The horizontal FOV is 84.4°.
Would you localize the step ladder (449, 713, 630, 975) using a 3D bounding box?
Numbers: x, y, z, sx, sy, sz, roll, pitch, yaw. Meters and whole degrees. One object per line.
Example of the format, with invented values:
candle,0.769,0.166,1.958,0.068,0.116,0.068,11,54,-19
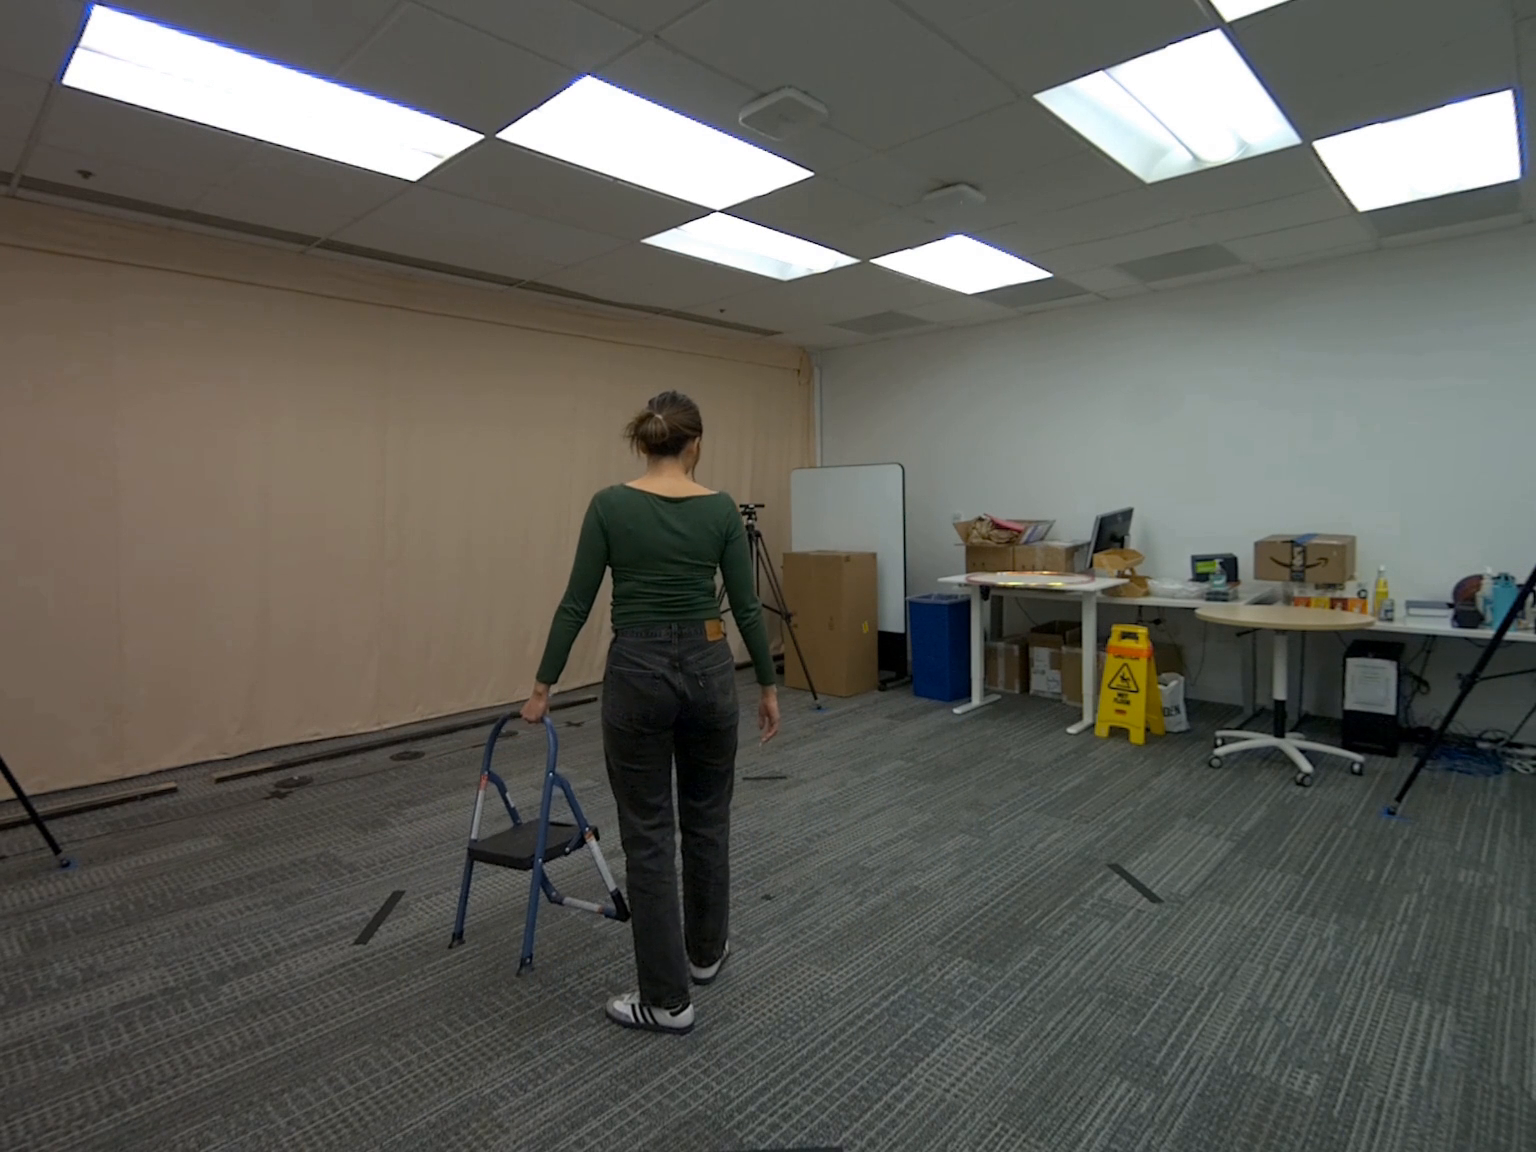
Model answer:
step ladder,-0.688,0.698,2.340,0.339,0.608,0.442,-8,-4,-45
